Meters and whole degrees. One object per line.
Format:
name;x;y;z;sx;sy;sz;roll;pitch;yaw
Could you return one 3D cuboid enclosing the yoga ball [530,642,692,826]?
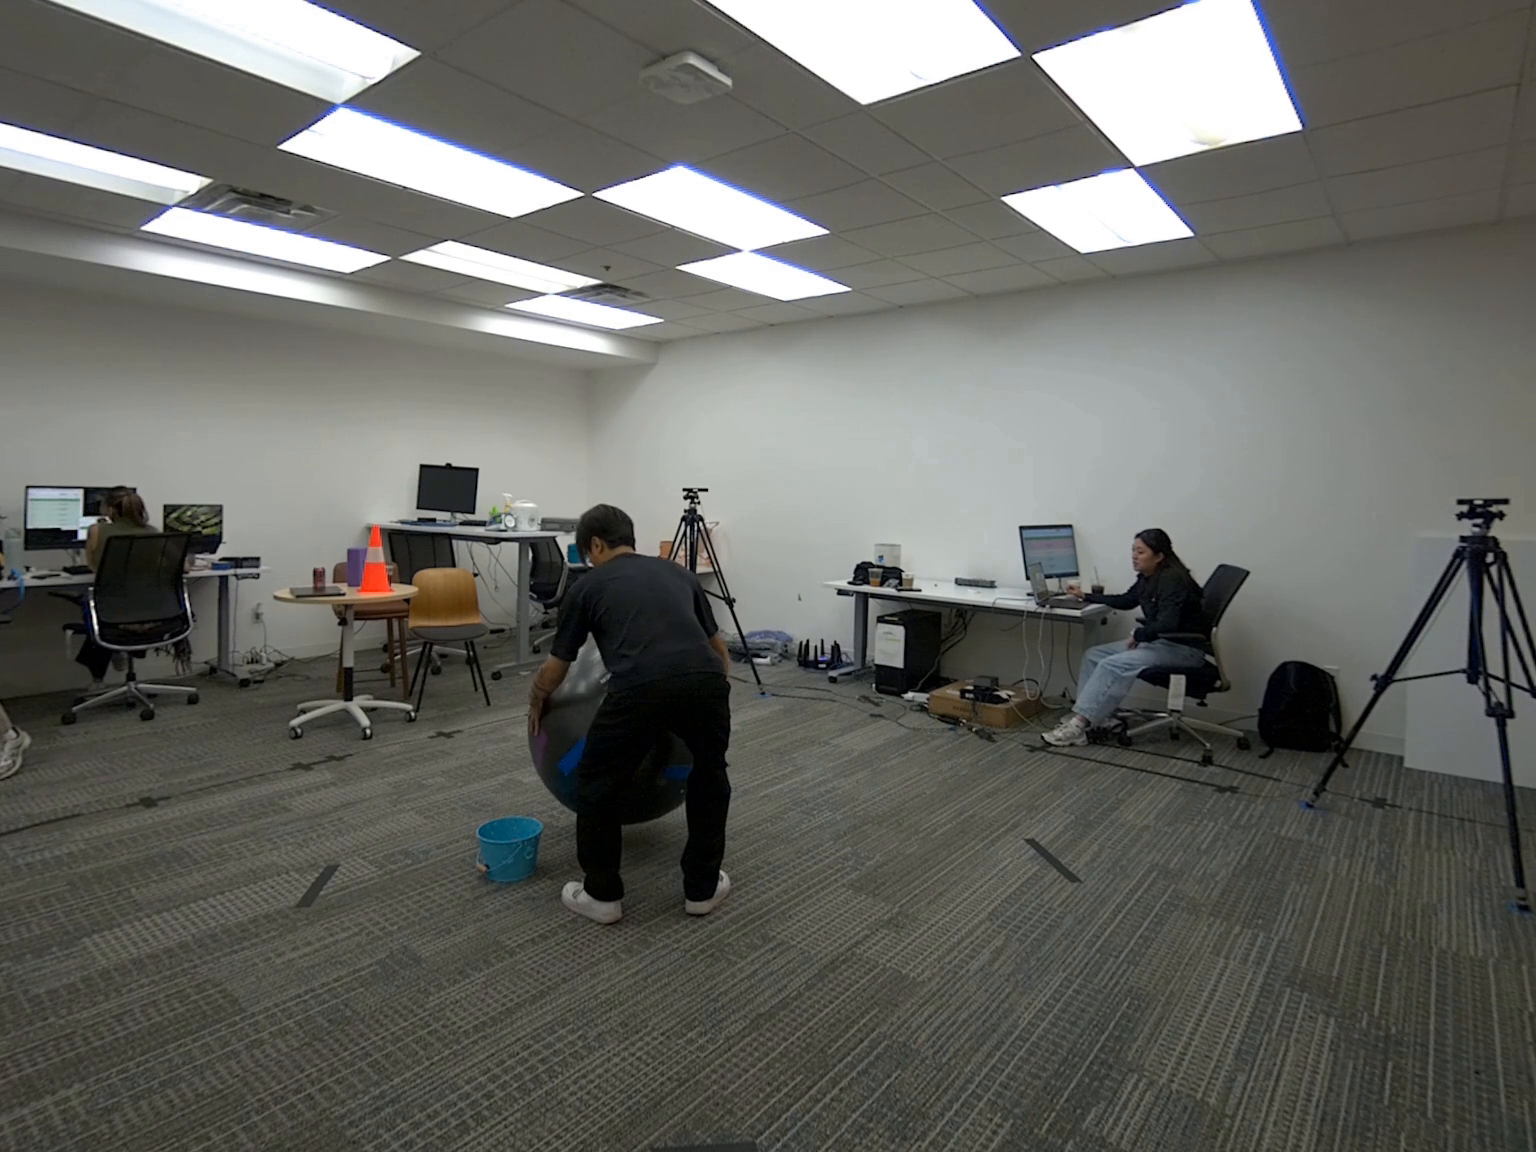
yoga ball;-0.588;0.584;3.358;0.757;0.755;0.762;1;4;-2
